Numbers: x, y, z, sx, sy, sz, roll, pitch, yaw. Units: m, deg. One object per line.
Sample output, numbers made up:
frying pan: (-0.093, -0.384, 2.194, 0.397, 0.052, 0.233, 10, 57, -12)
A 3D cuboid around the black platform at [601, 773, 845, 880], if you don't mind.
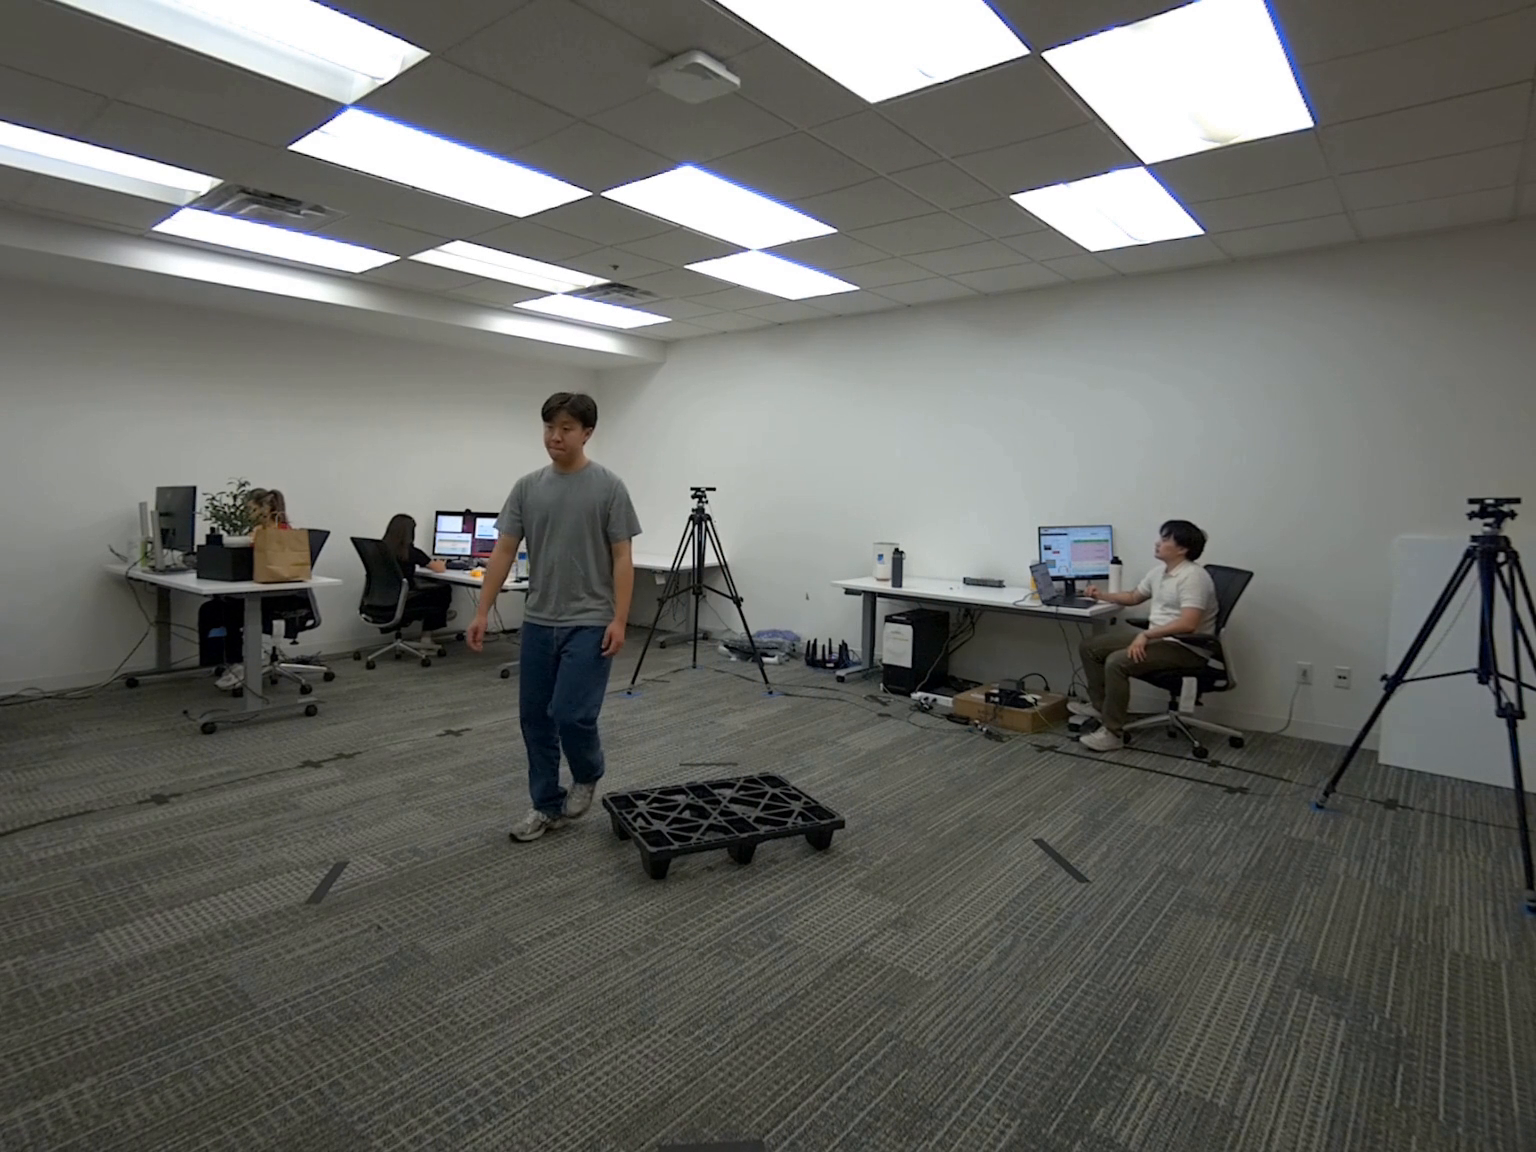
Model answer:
black platform: (-0.194, 0.974, 3.357, 0.786, 0.143, 0.622, -2, 7, -25)
